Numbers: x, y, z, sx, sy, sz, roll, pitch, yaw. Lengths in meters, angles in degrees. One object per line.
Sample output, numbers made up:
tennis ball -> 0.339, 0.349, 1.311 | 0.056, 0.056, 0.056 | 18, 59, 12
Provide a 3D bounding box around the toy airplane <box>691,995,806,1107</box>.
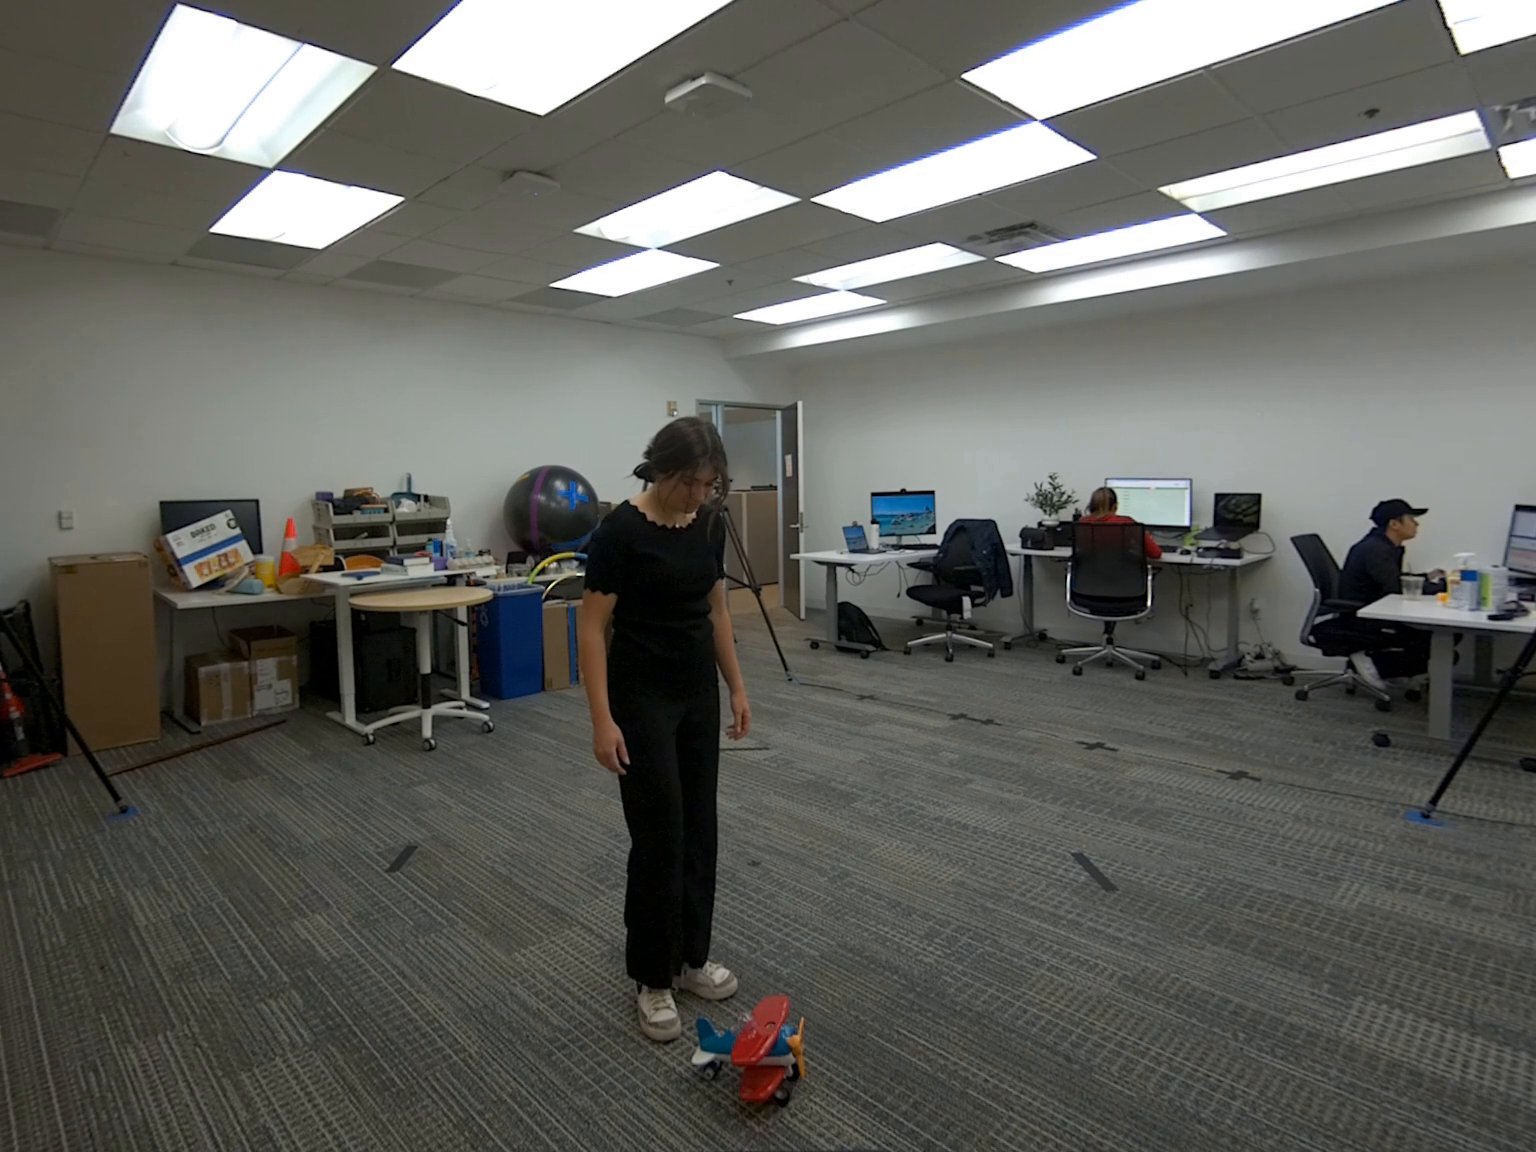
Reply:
toy airplane -> -0.037, 1.105, 1.963 | 0.257, 0.156, 0.254 | -1, 5, -8
